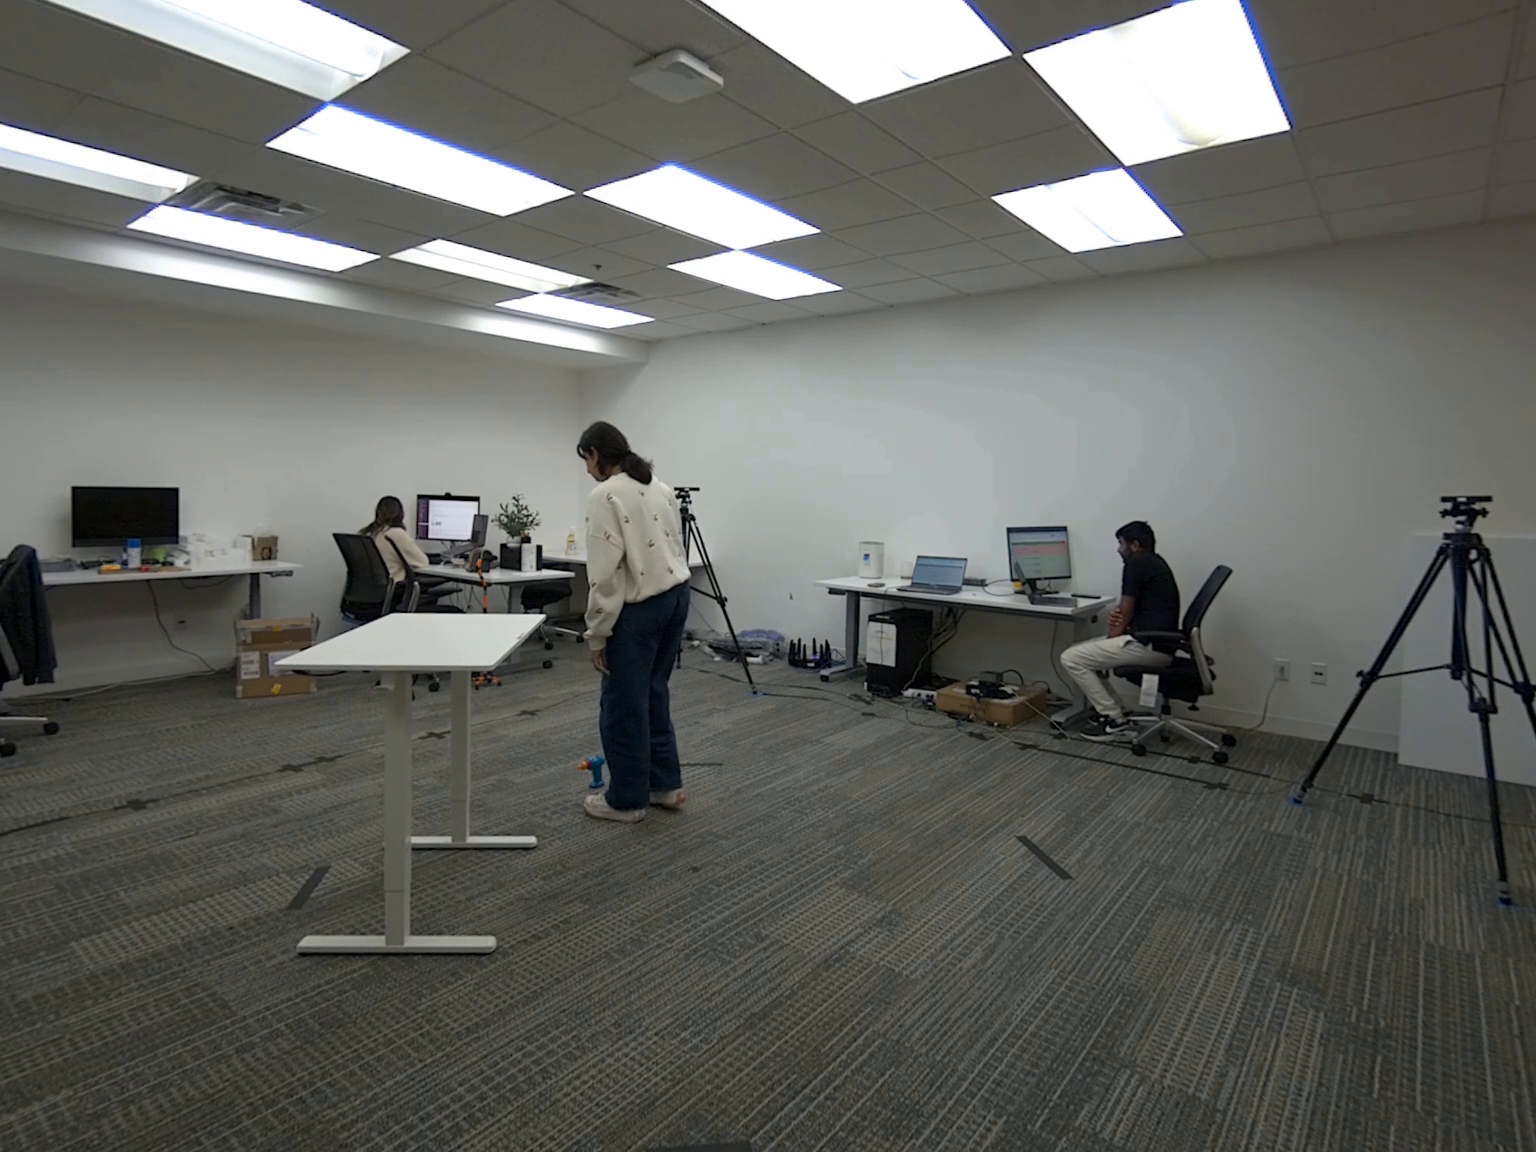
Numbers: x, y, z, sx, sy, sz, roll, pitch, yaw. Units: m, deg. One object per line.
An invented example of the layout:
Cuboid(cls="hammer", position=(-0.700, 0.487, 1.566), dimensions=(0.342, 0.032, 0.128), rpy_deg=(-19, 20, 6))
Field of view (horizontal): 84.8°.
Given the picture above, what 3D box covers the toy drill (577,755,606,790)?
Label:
Cuboid(cls="toy drill", position=(-0.838, 0.906, 3.929), dimensions=(0.063, 0.146, 0.165), rpy_deg=(1, 3, 39))
